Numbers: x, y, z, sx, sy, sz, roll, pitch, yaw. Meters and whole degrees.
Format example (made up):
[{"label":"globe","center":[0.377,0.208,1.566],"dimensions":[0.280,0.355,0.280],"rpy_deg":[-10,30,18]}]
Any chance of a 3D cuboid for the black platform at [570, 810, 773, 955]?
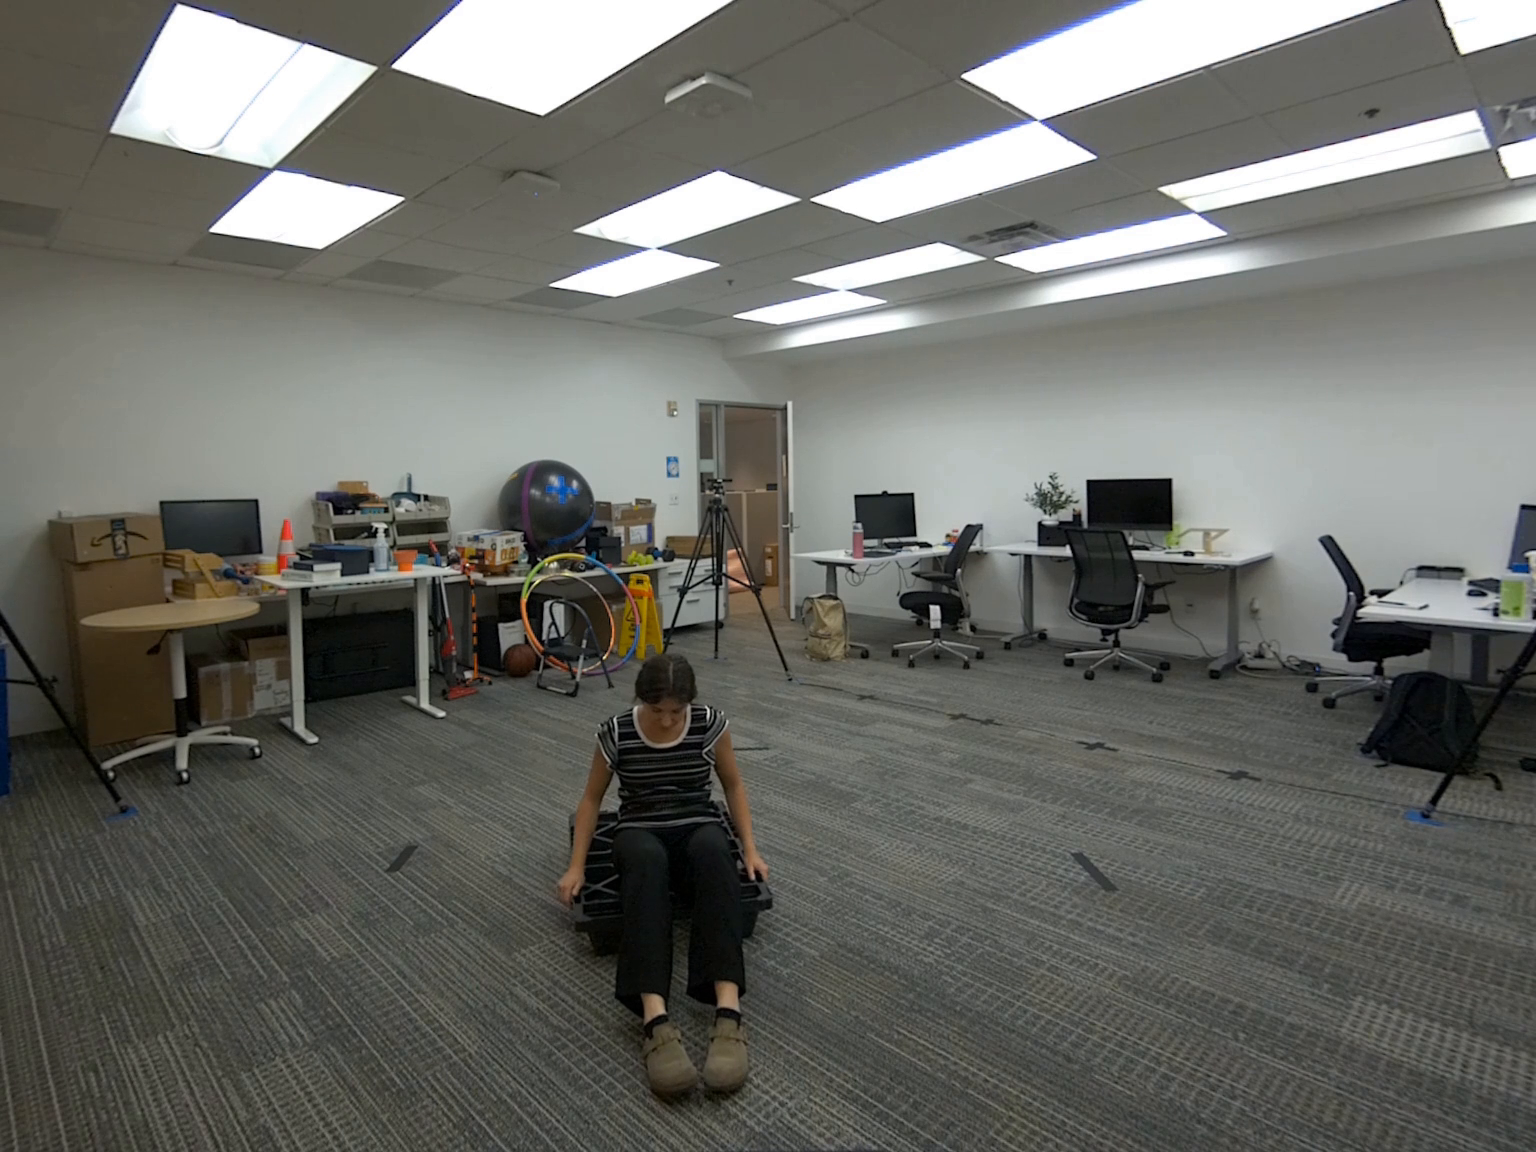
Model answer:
[{"label":"black platform","center":[-0.364,1.004,2.915],"dimensions":[0.599,0.142,0.819],"rpy_deg":[-3,7,-12]}]
